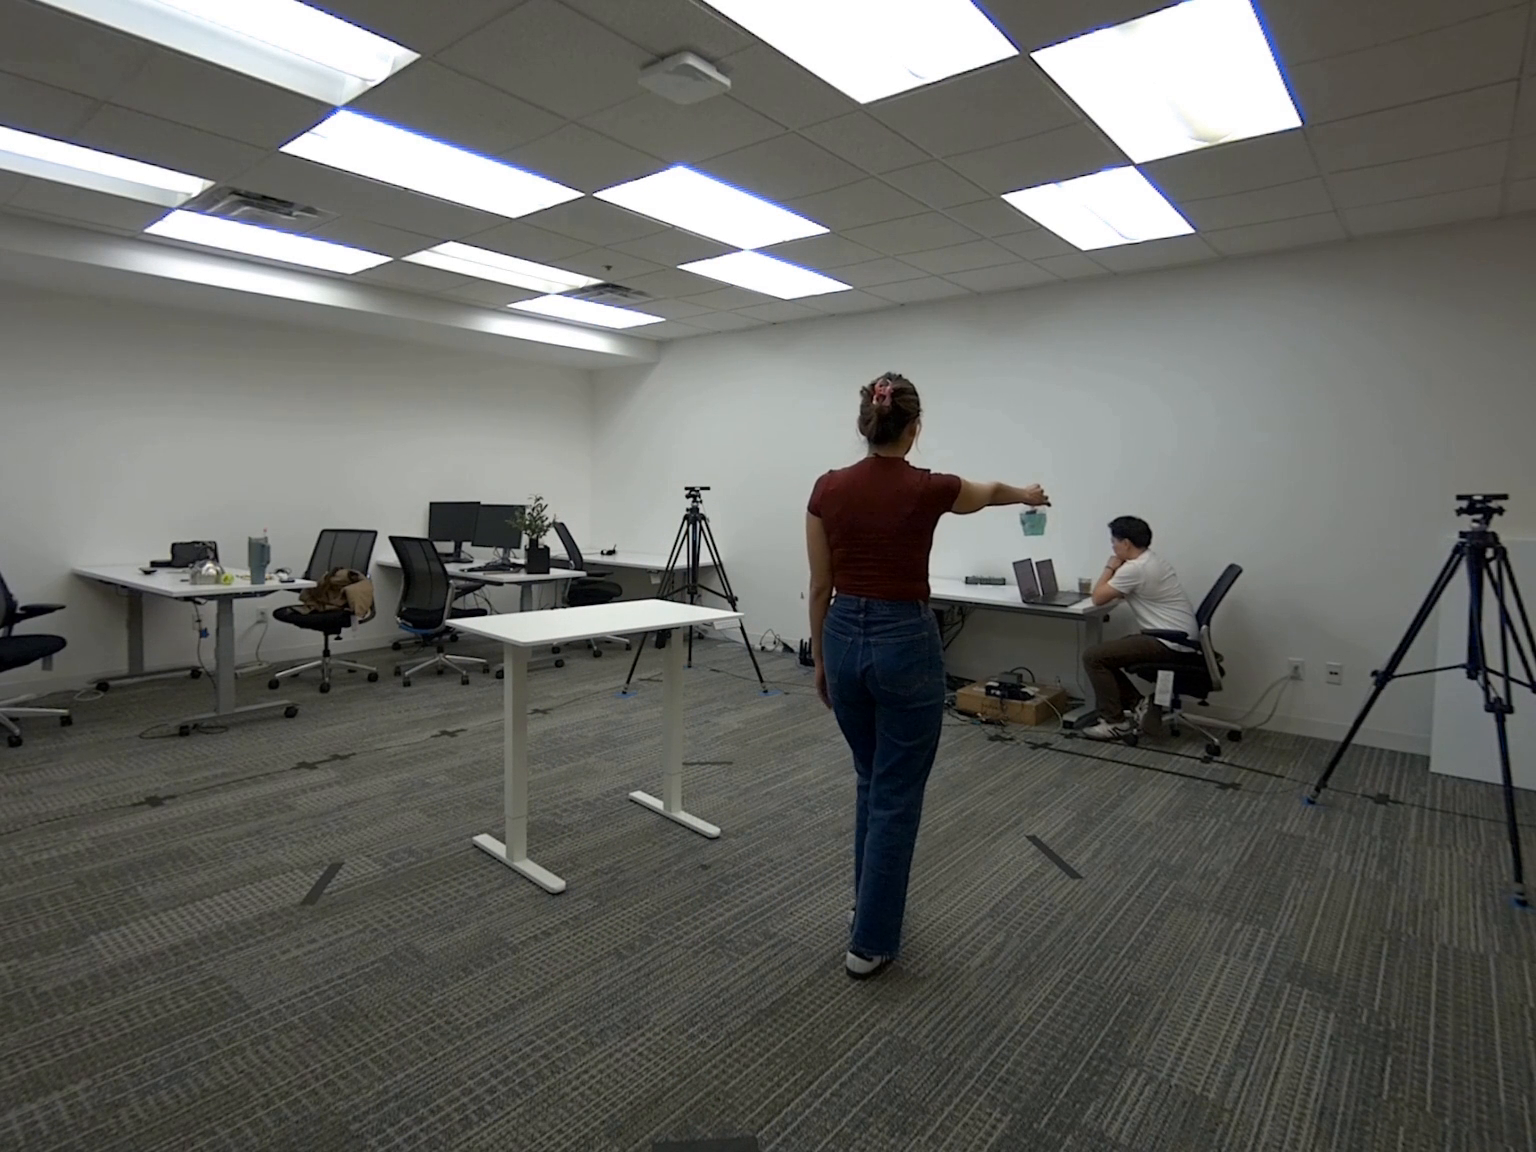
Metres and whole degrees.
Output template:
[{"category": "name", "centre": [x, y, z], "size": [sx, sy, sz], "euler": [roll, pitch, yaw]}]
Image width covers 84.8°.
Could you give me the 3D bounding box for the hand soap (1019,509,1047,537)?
[{"category": "hand soap", "centre": [0.891, -0.222, 2.870], "size": [0.086, 0.168, 0.042], "euler": [-4, 2, 27]}]
